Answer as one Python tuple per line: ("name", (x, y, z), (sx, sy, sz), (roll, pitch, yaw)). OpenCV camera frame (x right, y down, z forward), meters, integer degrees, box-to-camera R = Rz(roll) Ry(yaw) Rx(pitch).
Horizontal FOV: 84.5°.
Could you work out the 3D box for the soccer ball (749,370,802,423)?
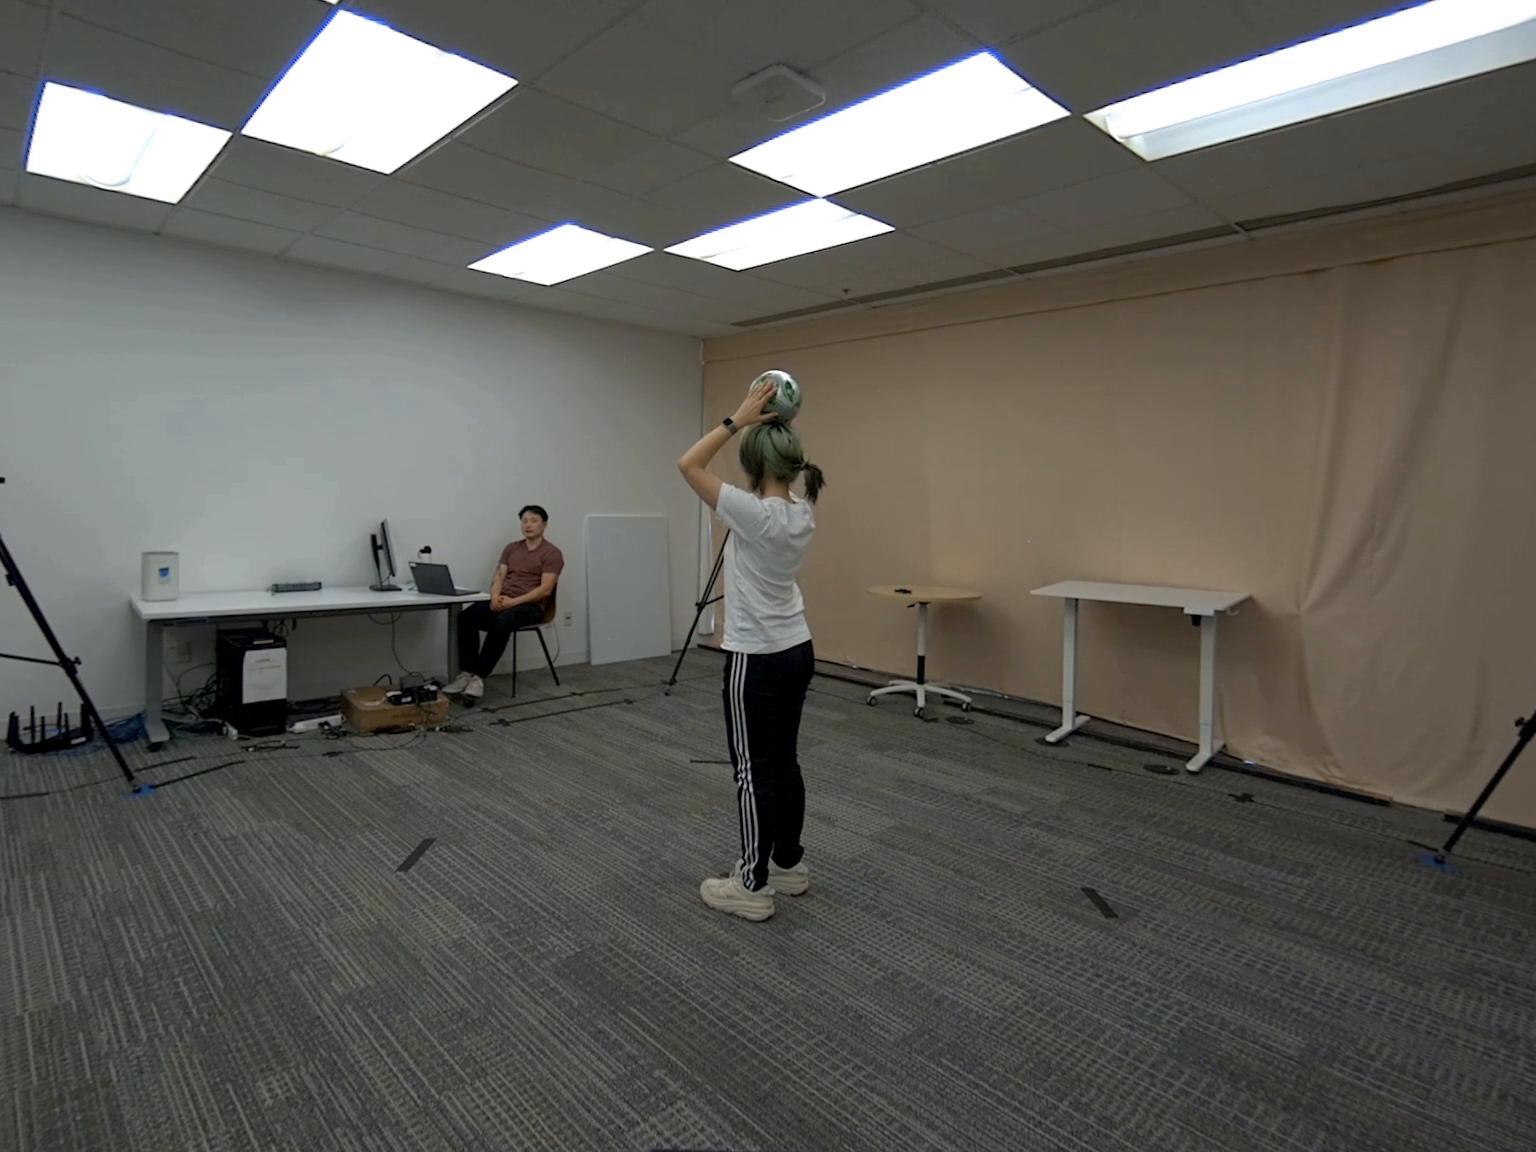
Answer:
("soccer ball", (0.019, -0.601, 2.860), (0.187, 0.187, 0.188), (1, 4, -1))
